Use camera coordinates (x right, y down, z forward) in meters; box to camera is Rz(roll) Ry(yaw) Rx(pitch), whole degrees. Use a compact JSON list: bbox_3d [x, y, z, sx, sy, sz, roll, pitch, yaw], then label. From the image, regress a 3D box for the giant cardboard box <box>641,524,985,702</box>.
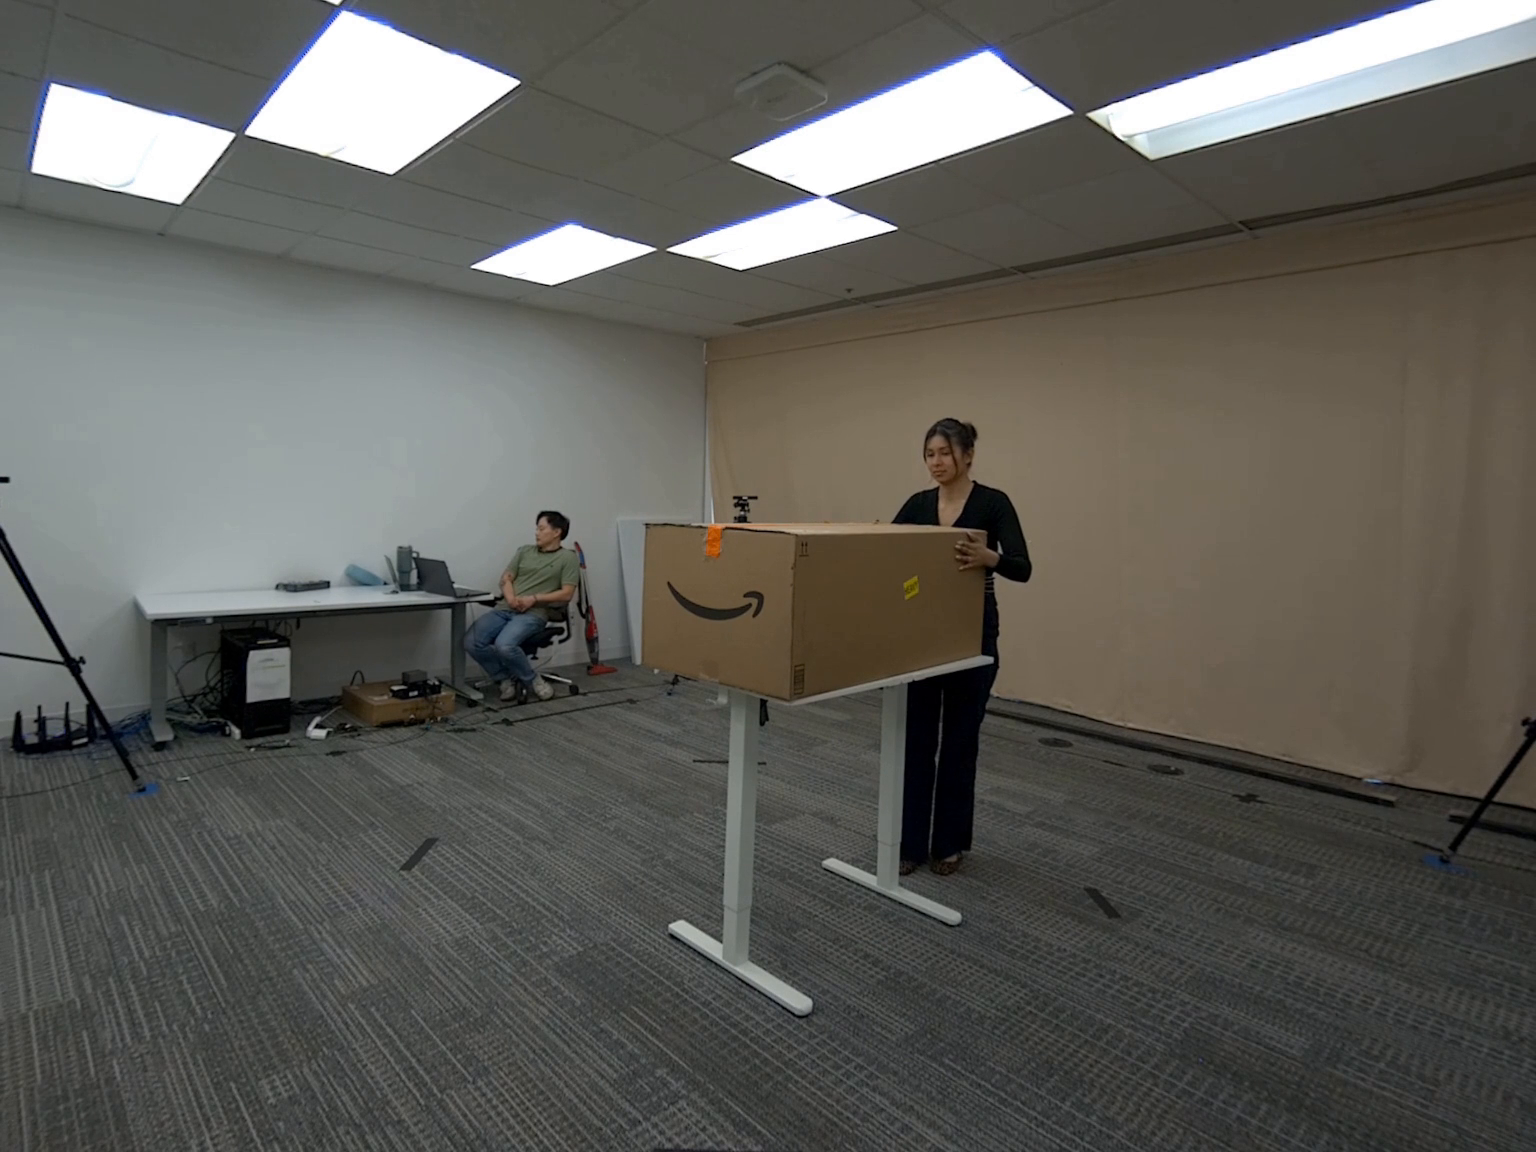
[{"bbox_3d":[0.170,0.059,2.661,0.592,0.425,1.002,6,6,42],"label":"giant cardboard box"}]
